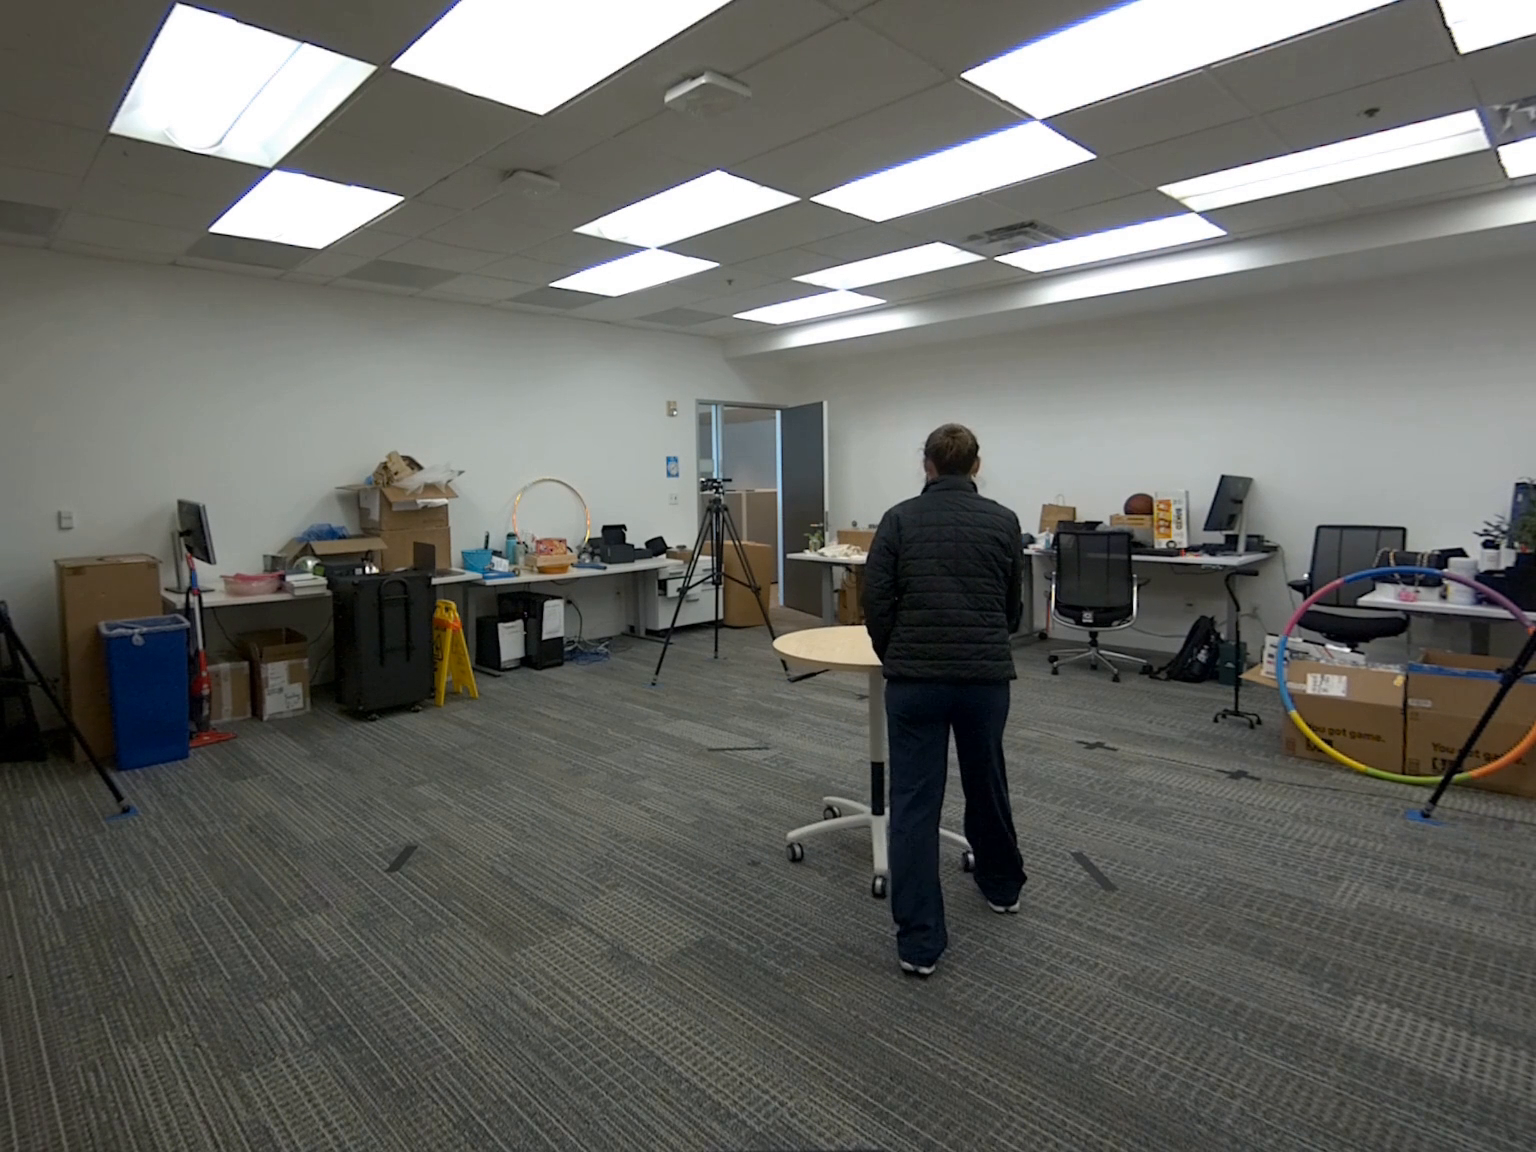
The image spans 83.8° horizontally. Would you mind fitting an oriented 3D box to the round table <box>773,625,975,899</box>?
[{"bbox_3d":[0.412,0.636,3.176,0.784,0.783,0.789,-1,5,-2],"label":"round table"}]
